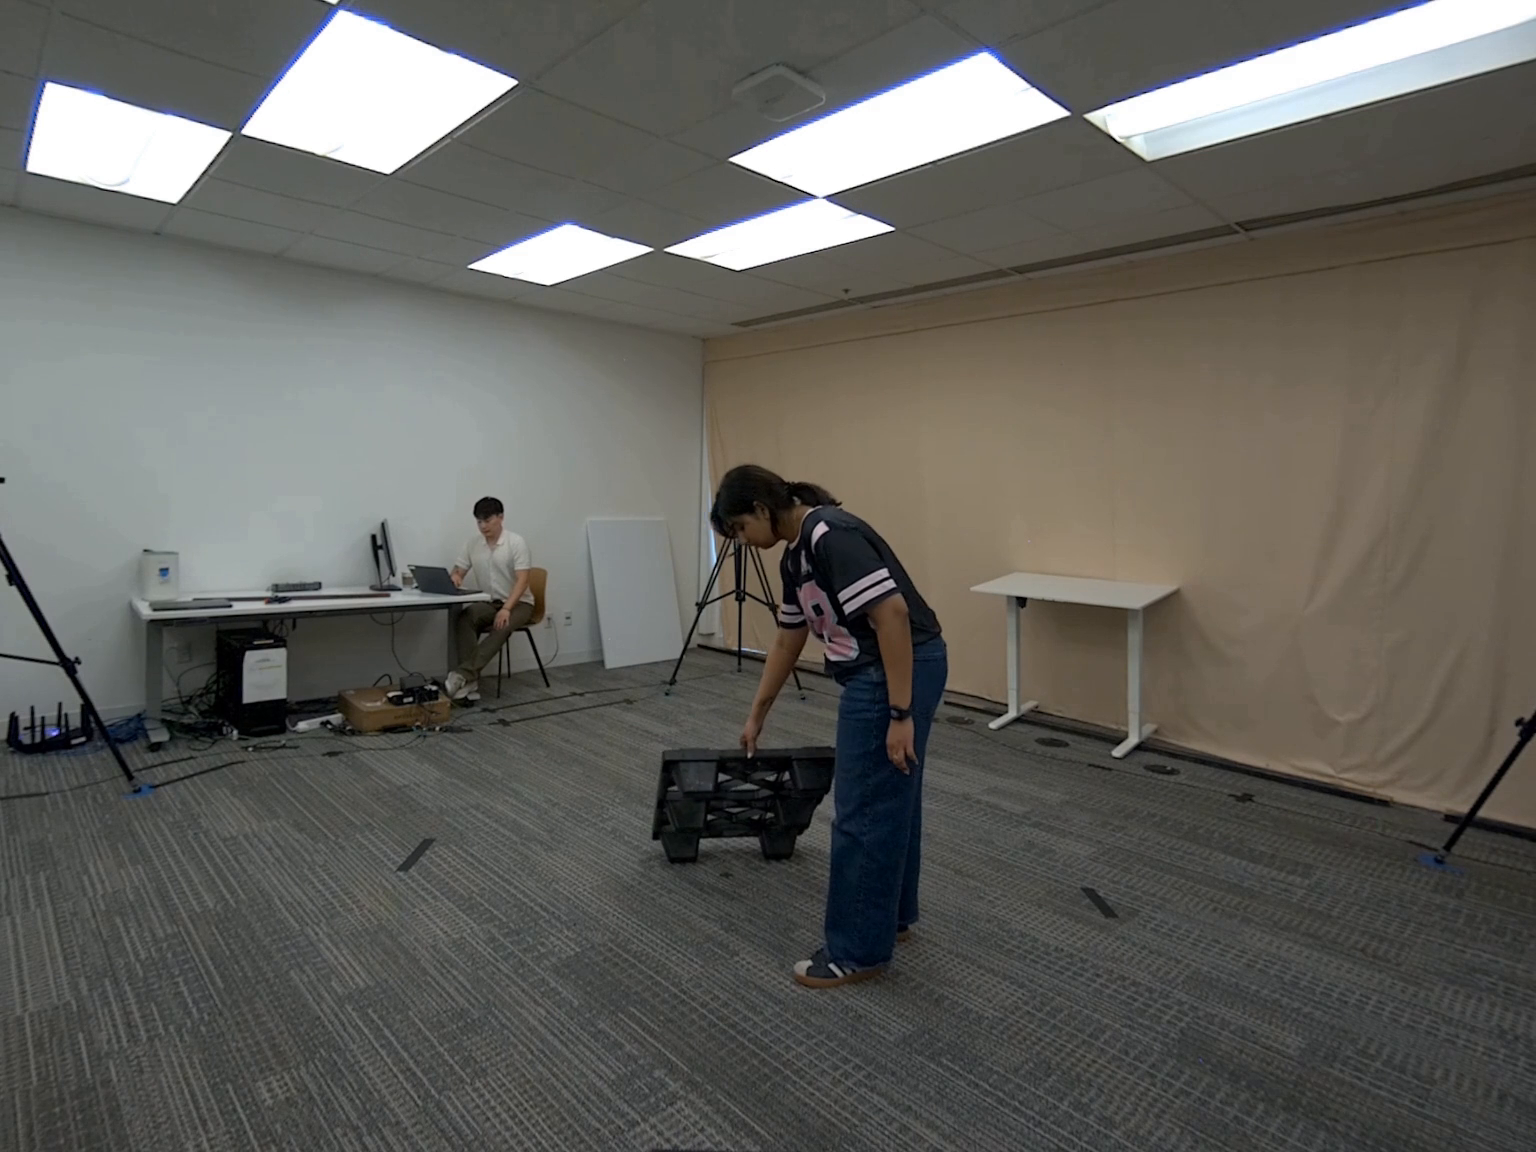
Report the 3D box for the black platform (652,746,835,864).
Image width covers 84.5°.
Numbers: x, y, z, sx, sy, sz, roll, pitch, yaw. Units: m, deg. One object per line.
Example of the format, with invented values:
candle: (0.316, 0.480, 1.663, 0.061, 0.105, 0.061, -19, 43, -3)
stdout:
black platform: (-0.095, 0.834, 2.982, 0.601, 0.146, 0.793, 2, -36, -8)
